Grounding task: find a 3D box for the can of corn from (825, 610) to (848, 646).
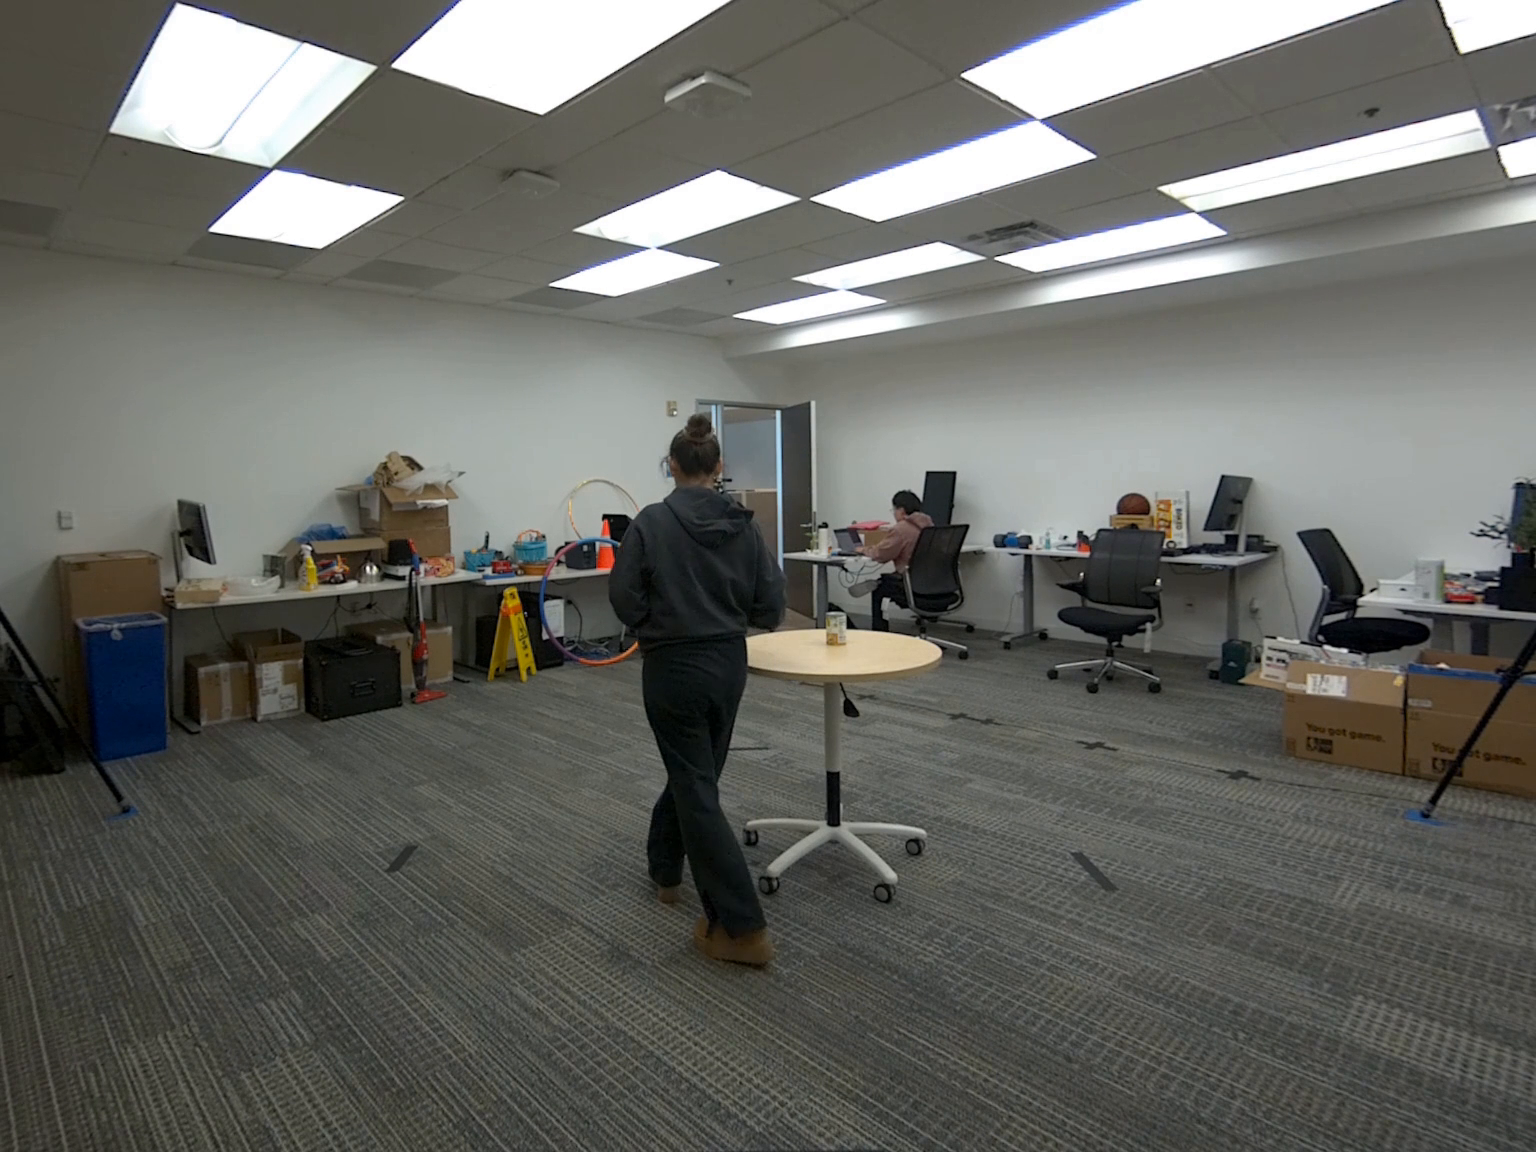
[{"bbox_3d":[0.257,0.195,3.135,0.074,0.111,0.074,1,3,-2],"label":"can of corn"}]
